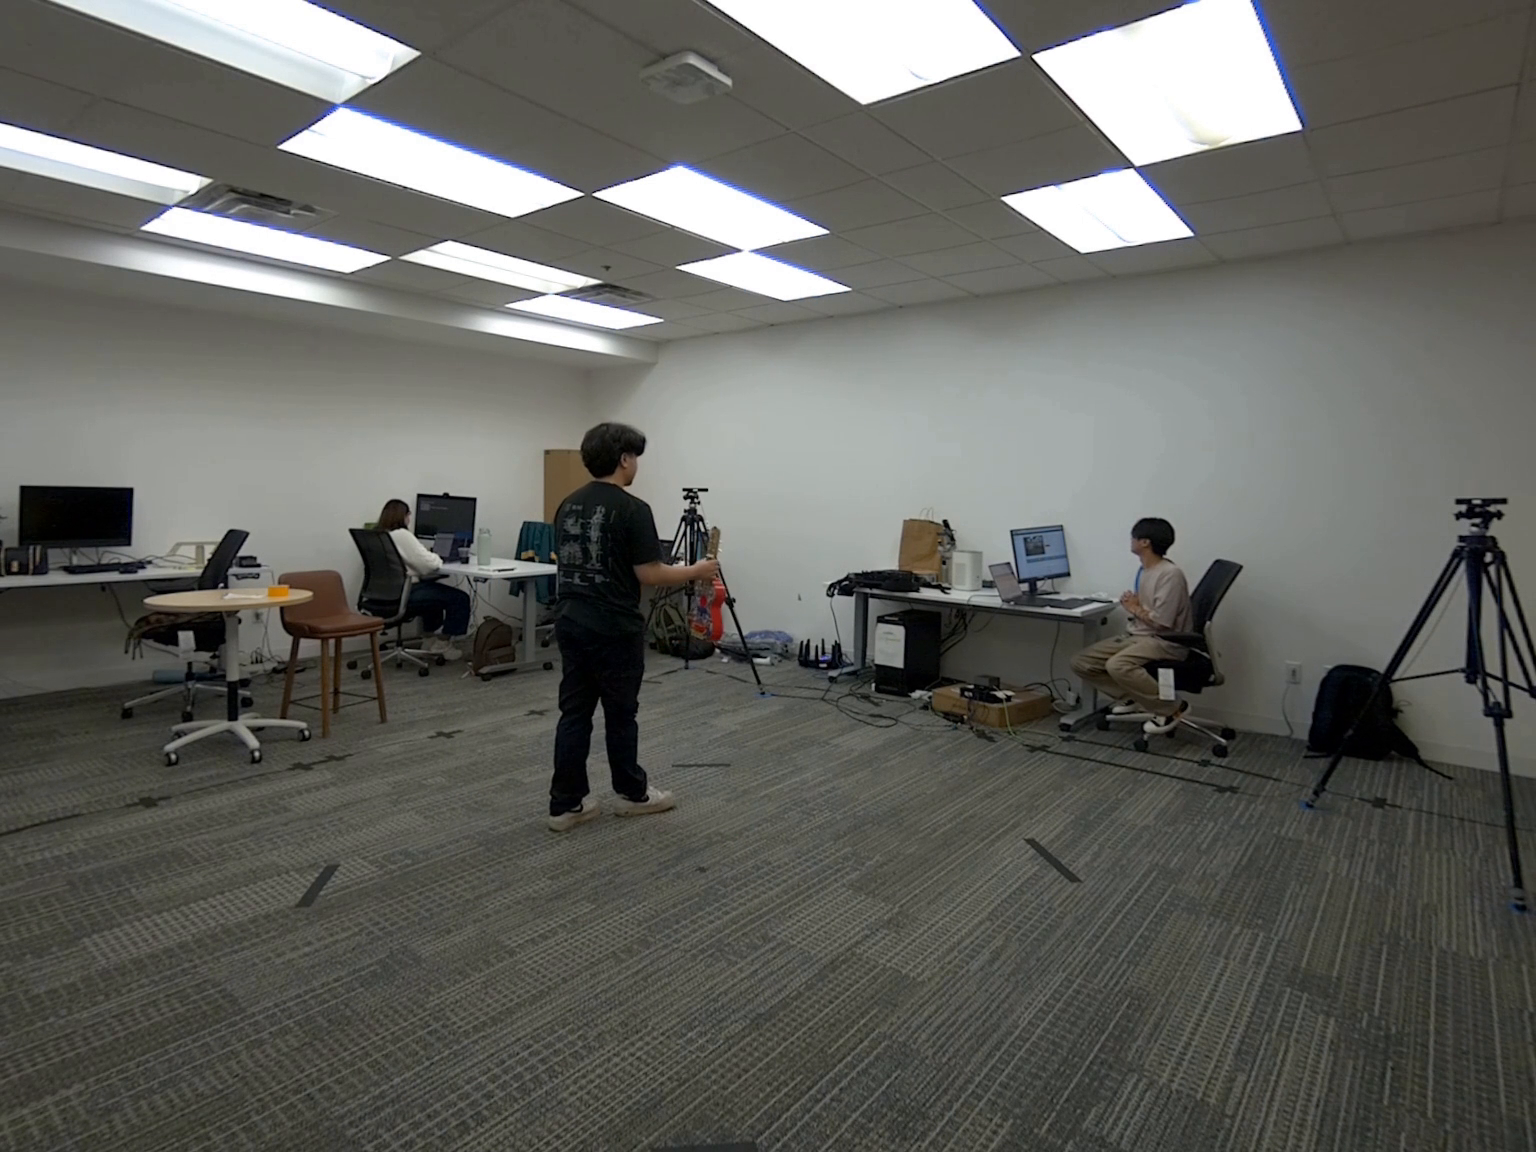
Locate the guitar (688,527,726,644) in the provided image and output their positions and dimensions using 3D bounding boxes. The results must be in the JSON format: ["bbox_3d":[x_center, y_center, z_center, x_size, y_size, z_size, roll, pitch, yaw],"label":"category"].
[{"bbox_3d":[-0.244,0.045,3.670,0.068,0.494,0.201,6,15,-40],"label":"guitar"}]
